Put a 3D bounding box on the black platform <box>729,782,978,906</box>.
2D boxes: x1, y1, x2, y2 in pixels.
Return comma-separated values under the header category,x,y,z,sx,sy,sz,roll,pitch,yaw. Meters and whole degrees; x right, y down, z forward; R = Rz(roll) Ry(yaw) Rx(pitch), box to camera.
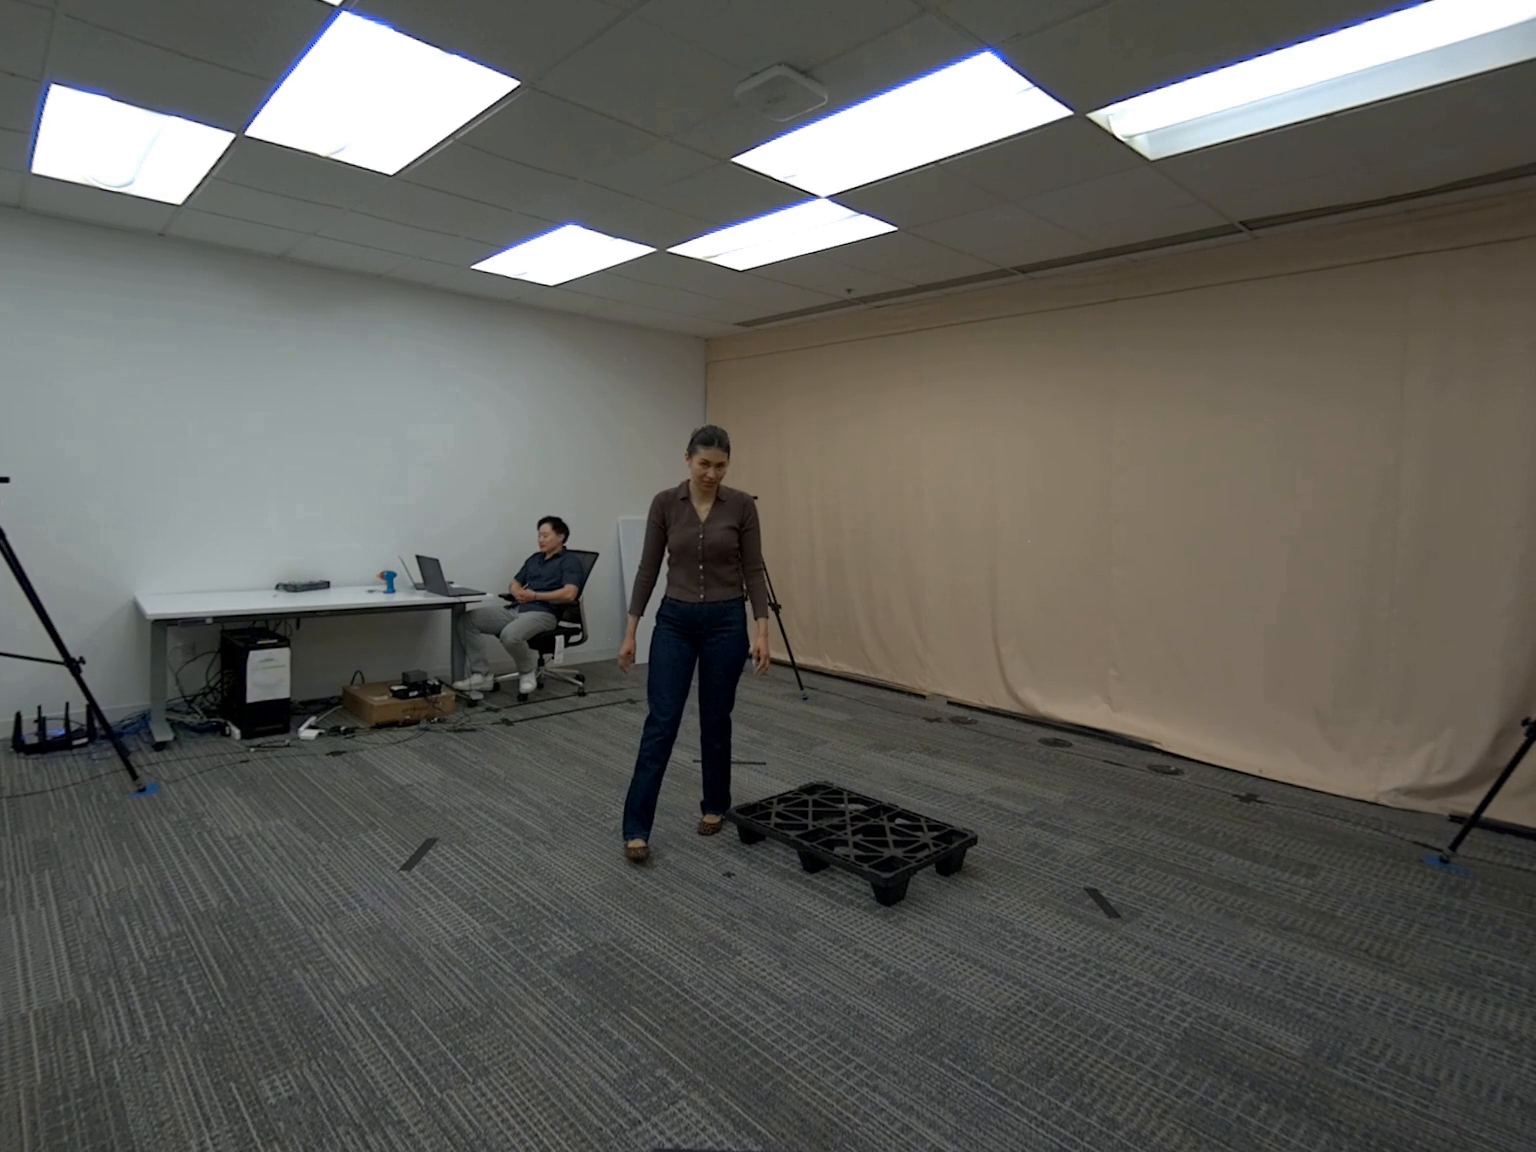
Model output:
category,x,y,z,sx,sy,sz,roll,pitch,yaw
black platform,0.305,1.031,3.293,0.591,0.143,0.826,-4,7,-45
